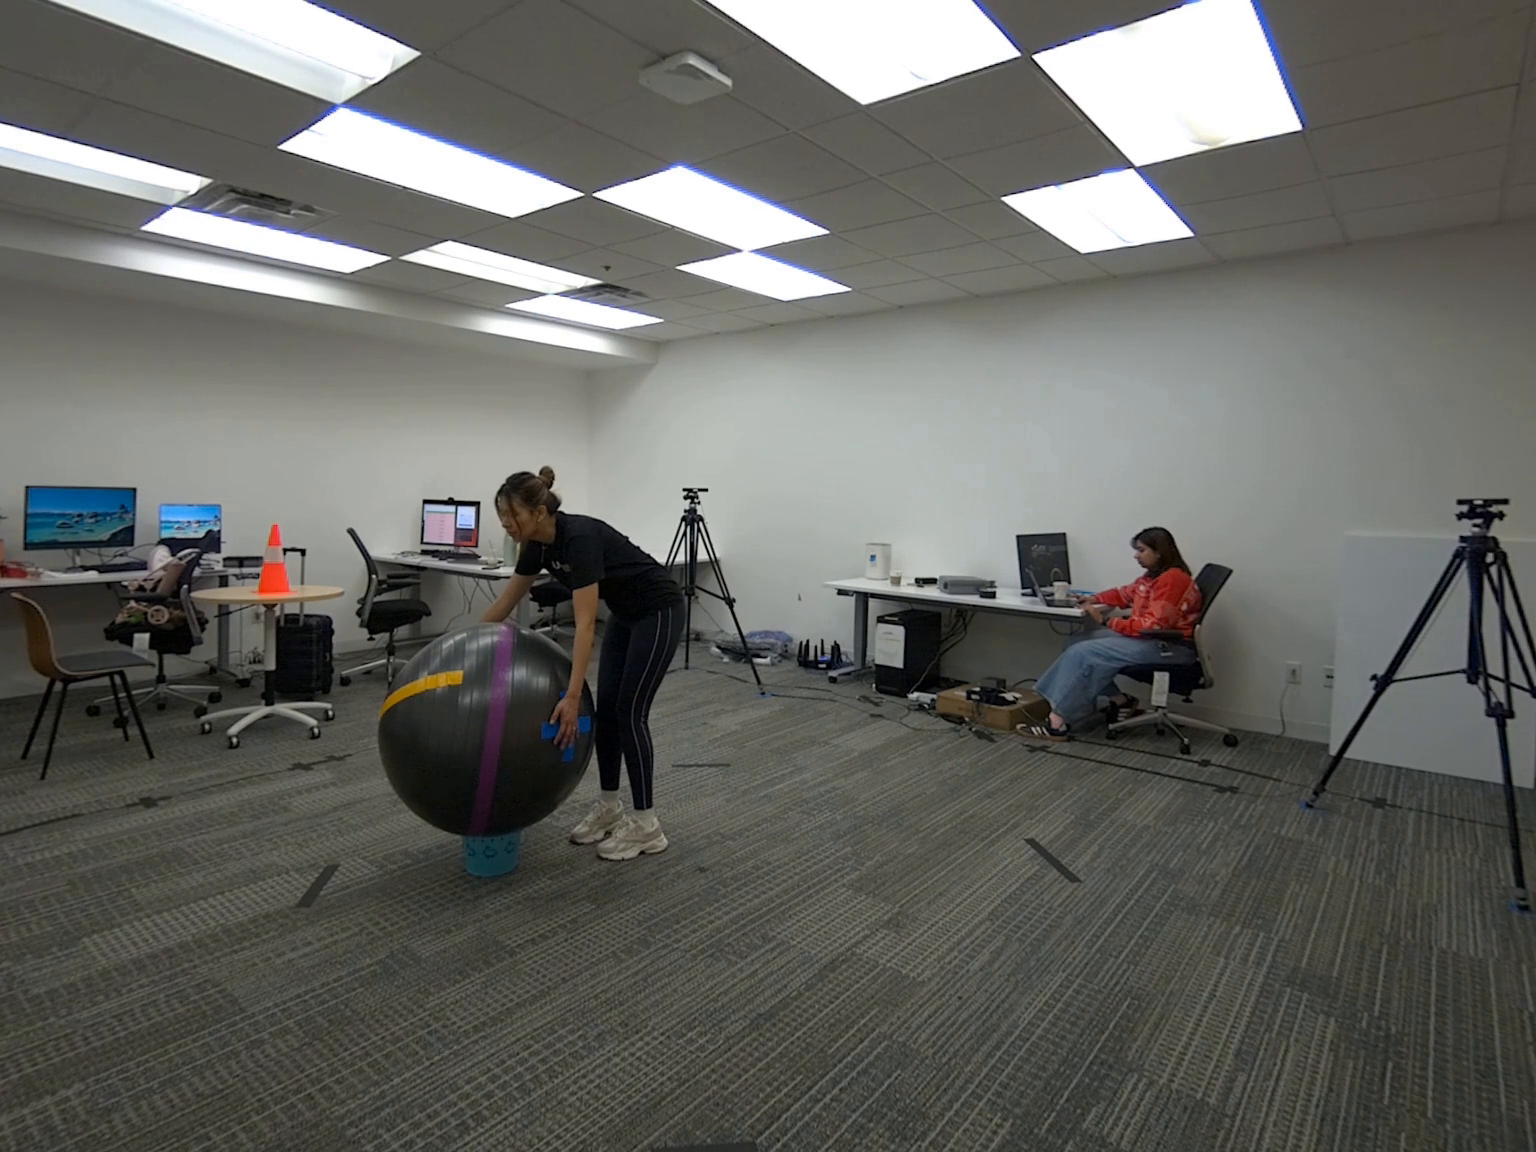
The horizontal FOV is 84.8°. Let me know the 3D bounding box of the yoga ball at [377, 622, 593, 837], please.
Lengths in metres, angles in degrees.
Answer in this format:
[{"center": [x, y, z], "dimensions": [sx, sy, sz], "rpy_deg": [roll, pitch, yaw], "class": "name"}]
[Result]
[{"center": [-1.028, 0.551, 3.076], "dimensions": [0.757, 0.756, 0.762], "rpy_deg": [1, 4, -2], "class": "yoga ball"}]
